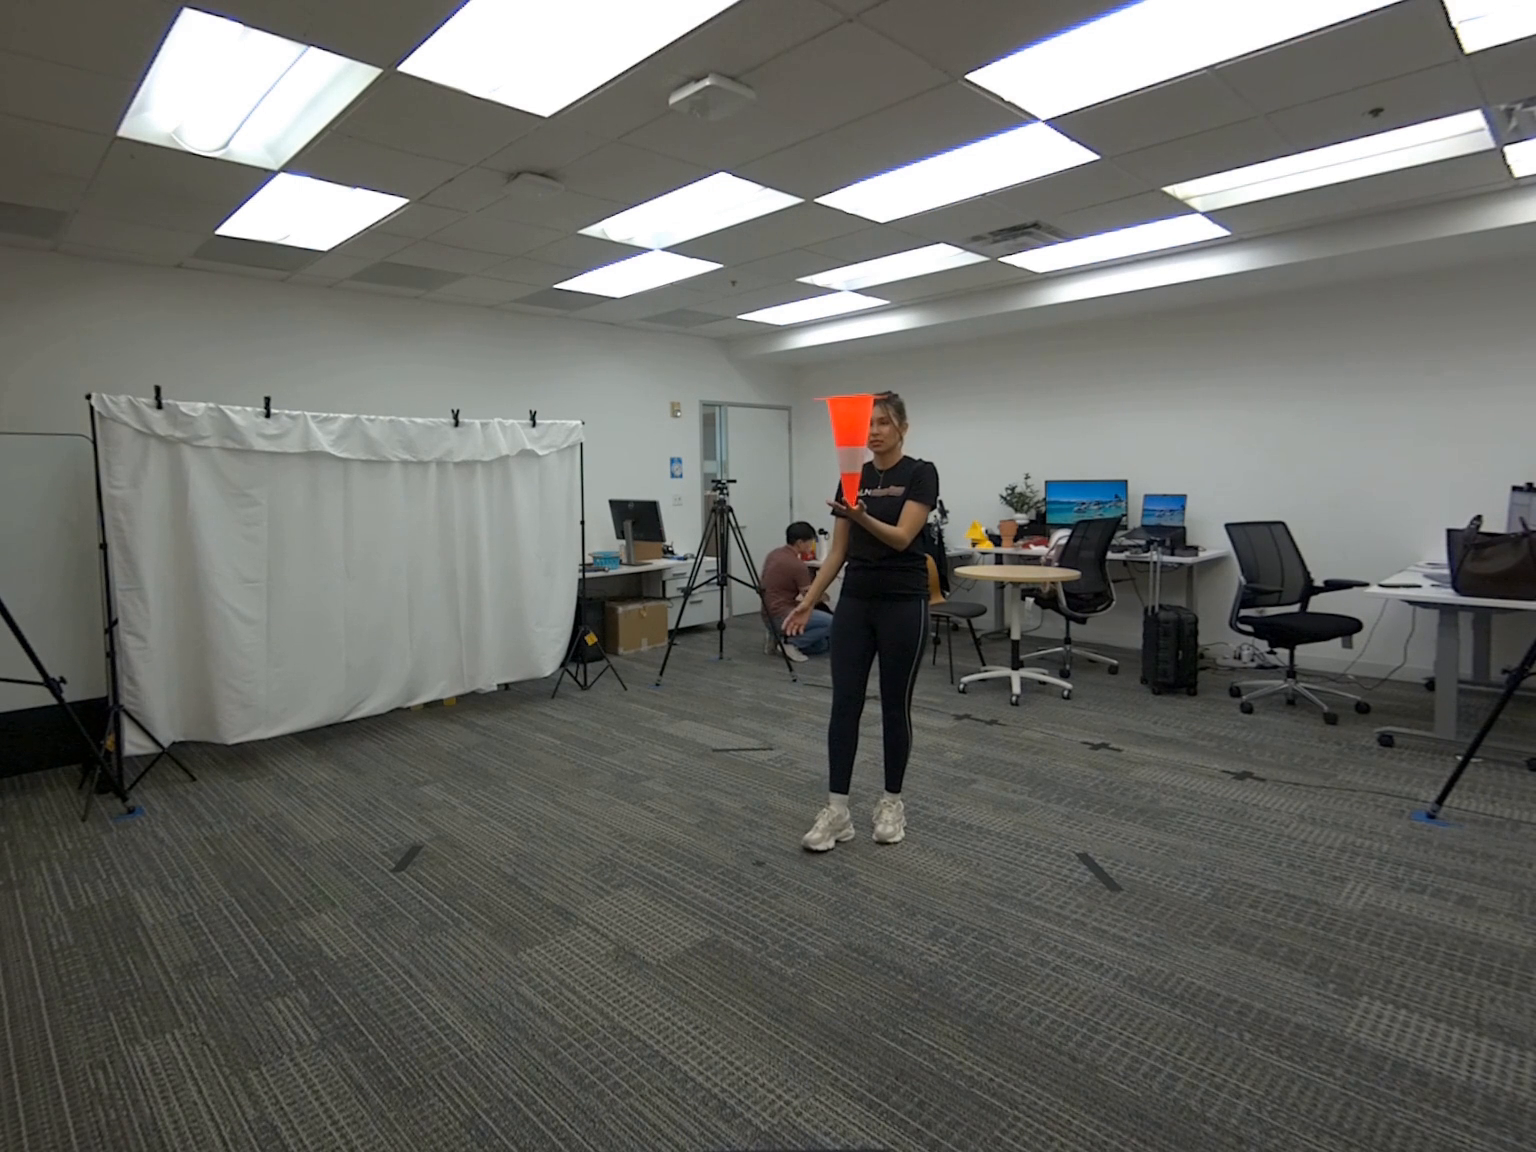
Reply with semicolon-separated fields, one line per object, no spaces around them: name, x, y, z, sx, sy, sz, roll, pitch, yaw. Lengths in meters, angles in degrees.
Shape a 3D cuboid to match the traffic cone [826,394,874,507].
traffic cone;0.290;-0.423;2.933;0.199;0.382;0.209;-5;6;-40
